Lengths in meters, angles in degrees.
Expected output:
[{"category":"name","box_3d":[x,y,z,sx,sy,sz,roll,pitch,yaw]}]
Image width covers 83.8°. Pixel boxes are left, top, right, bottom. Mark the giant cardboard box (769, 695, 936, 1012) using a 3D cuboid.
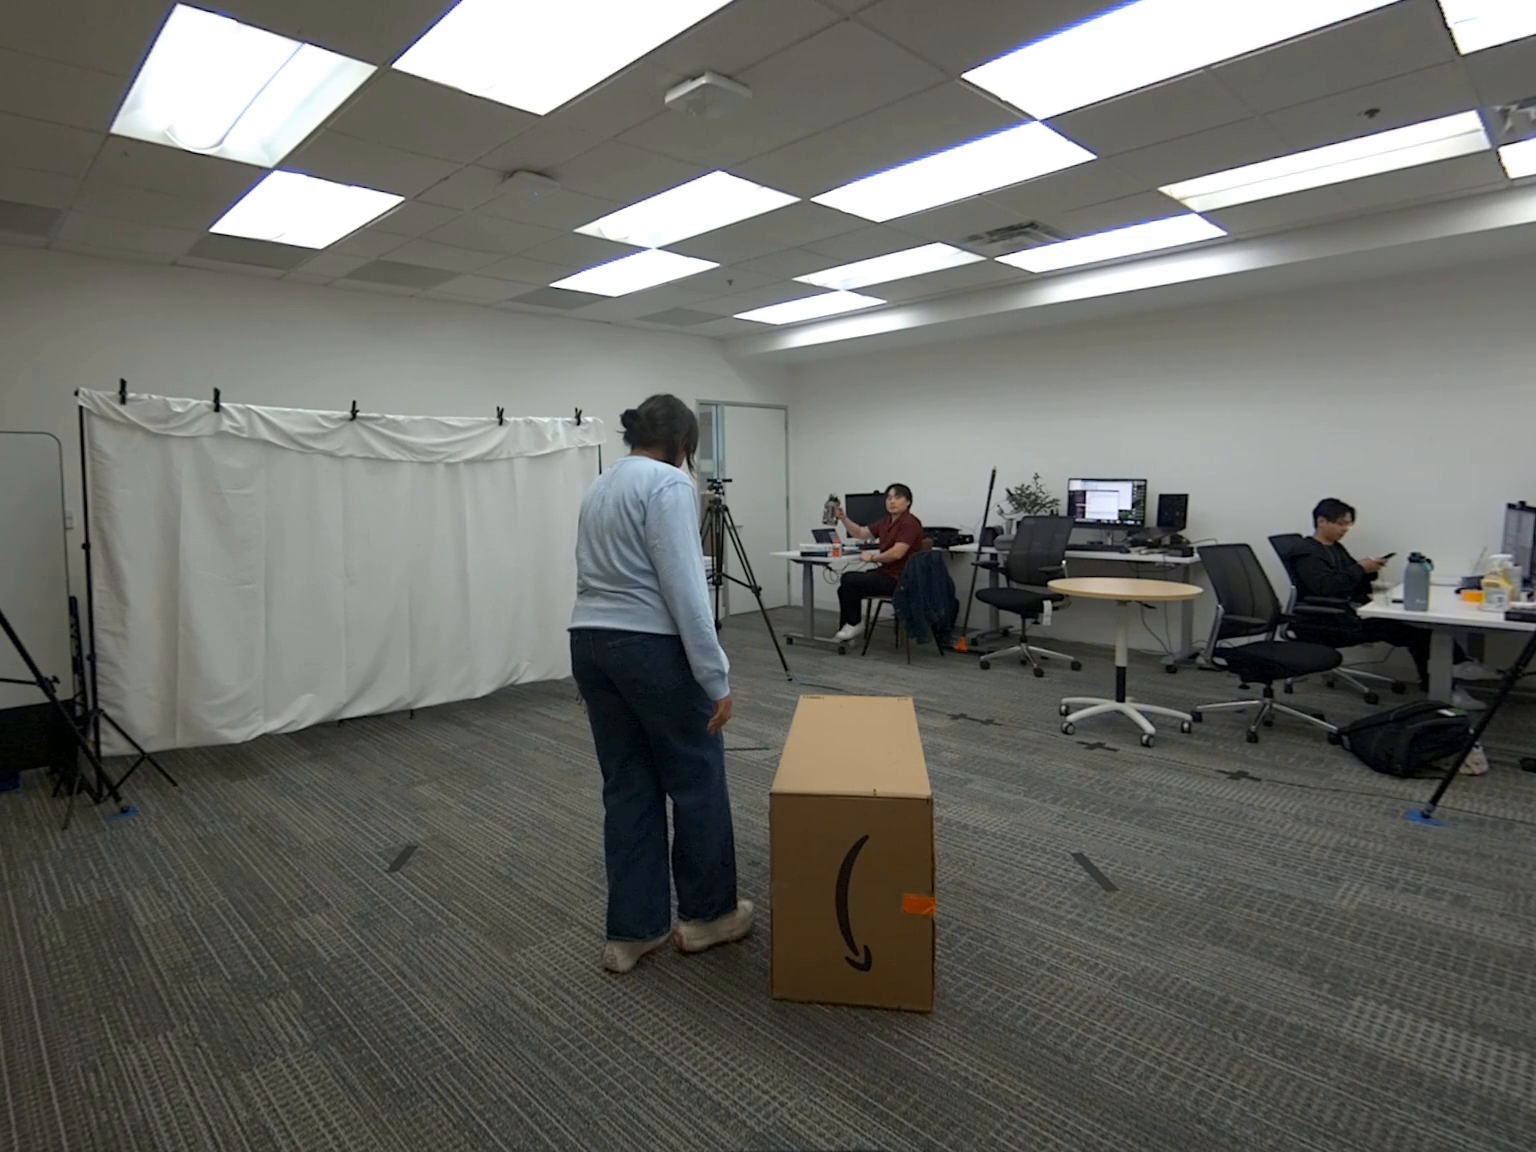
[{"category":"giant cardboard box","box_3d":[0.281,0.789,2.737,0.430,0.575,1.021,0,6,7]}]
